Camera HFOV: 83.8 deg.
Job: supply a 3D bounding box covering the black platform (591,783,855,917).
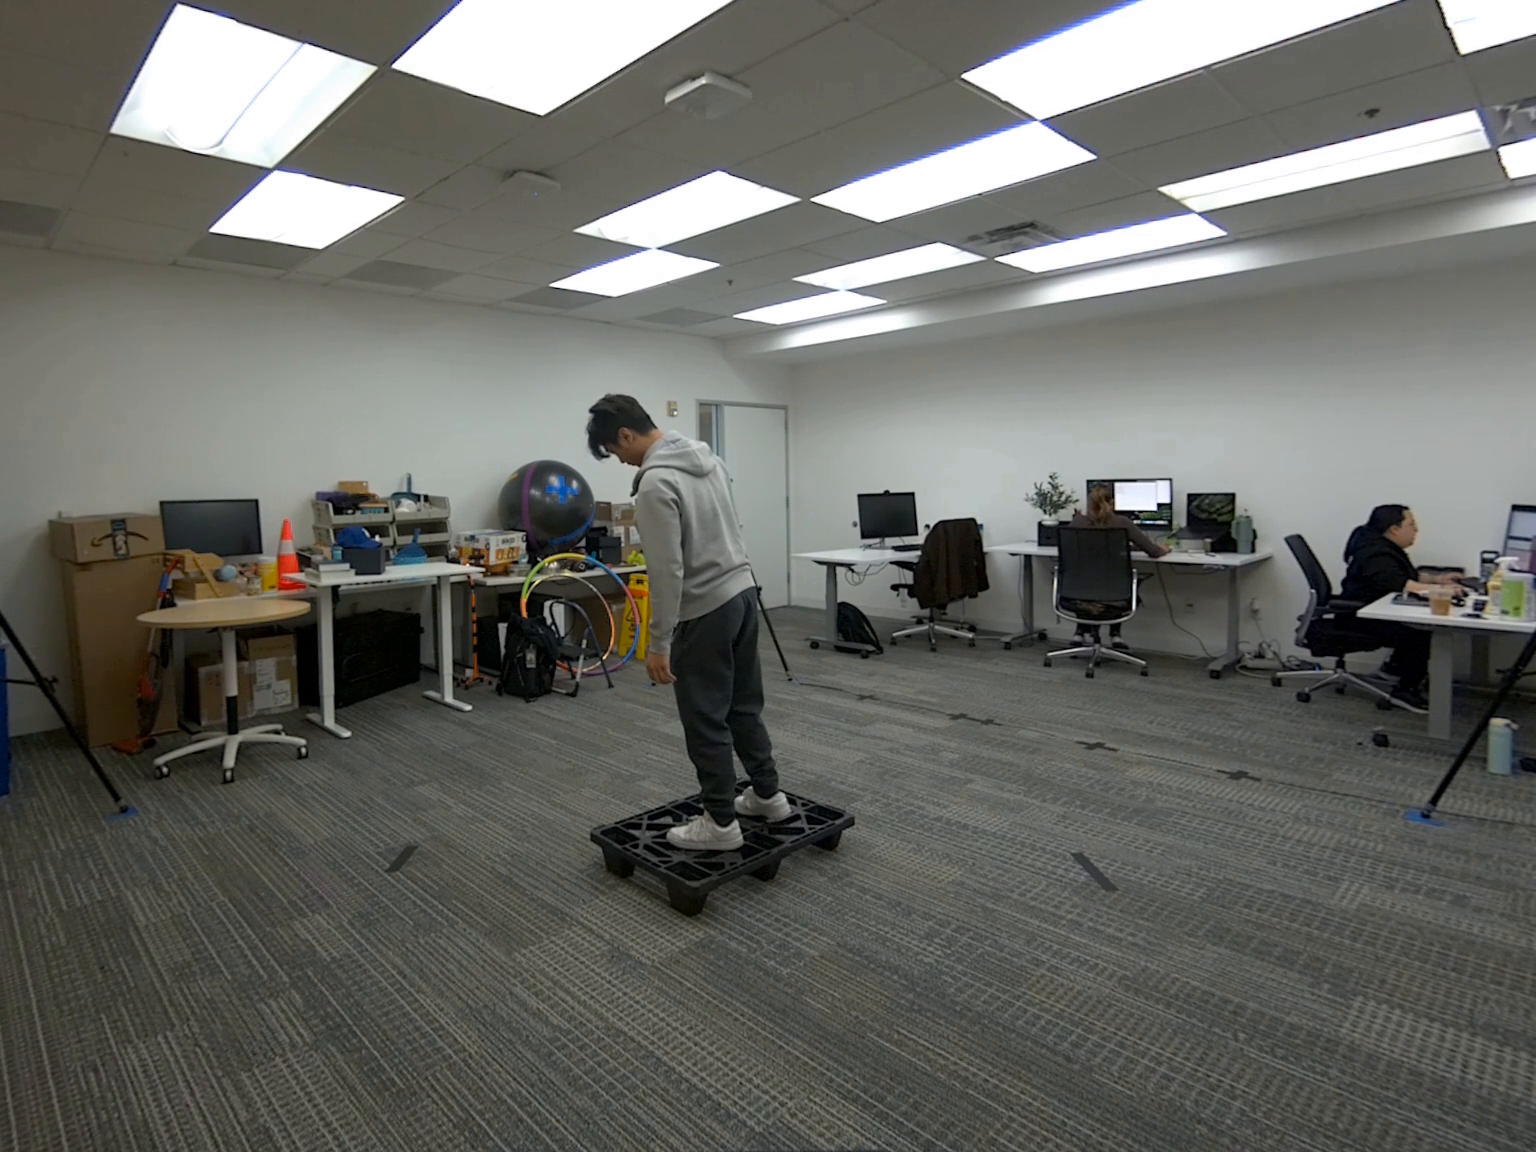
[{"bbox_3d":[-0.151,0.973,3.146,0.785,0.142,0.624,-8,10,-43],"label":"black platform"}]
